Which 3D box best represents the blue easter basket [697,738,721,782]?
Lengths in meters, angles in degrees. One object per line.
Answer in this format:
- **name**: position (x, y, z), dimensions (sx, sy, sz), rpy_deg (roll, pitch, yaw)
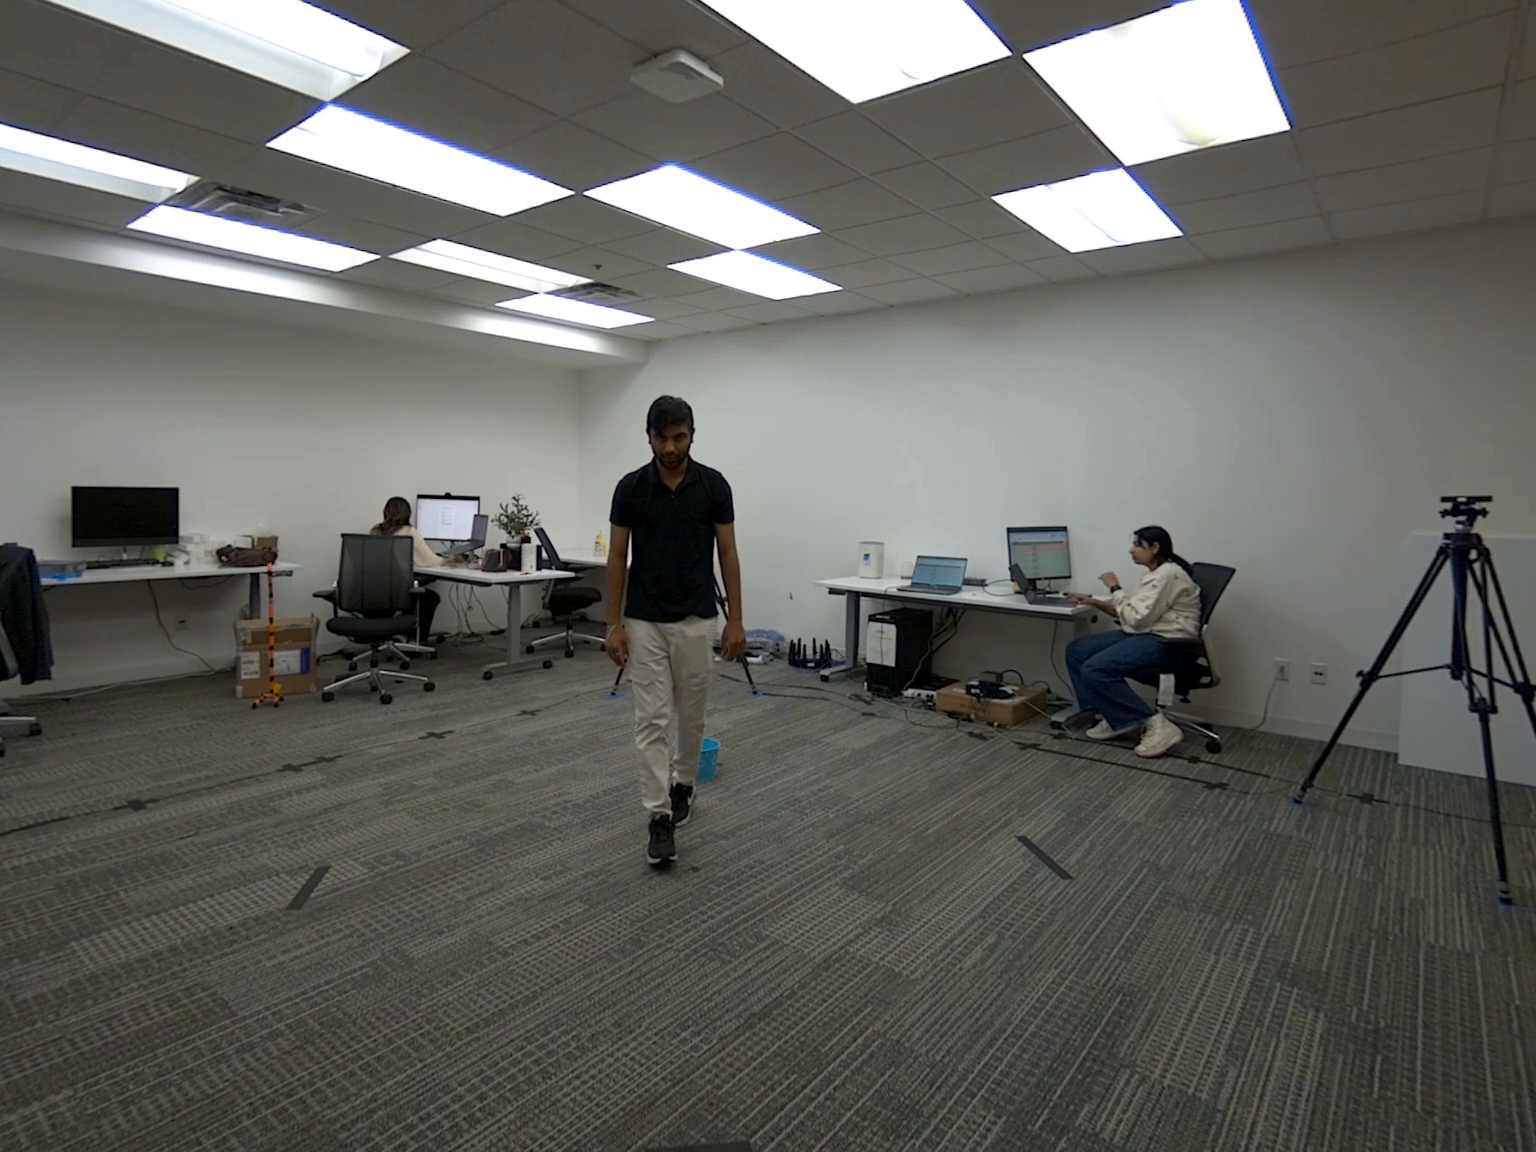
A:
- **blue easter basket**: position (-0.352, 0.885, 4.139), dimensions (0.243, 0.155, 0.245), rpy_deg (0, 6, -2)
